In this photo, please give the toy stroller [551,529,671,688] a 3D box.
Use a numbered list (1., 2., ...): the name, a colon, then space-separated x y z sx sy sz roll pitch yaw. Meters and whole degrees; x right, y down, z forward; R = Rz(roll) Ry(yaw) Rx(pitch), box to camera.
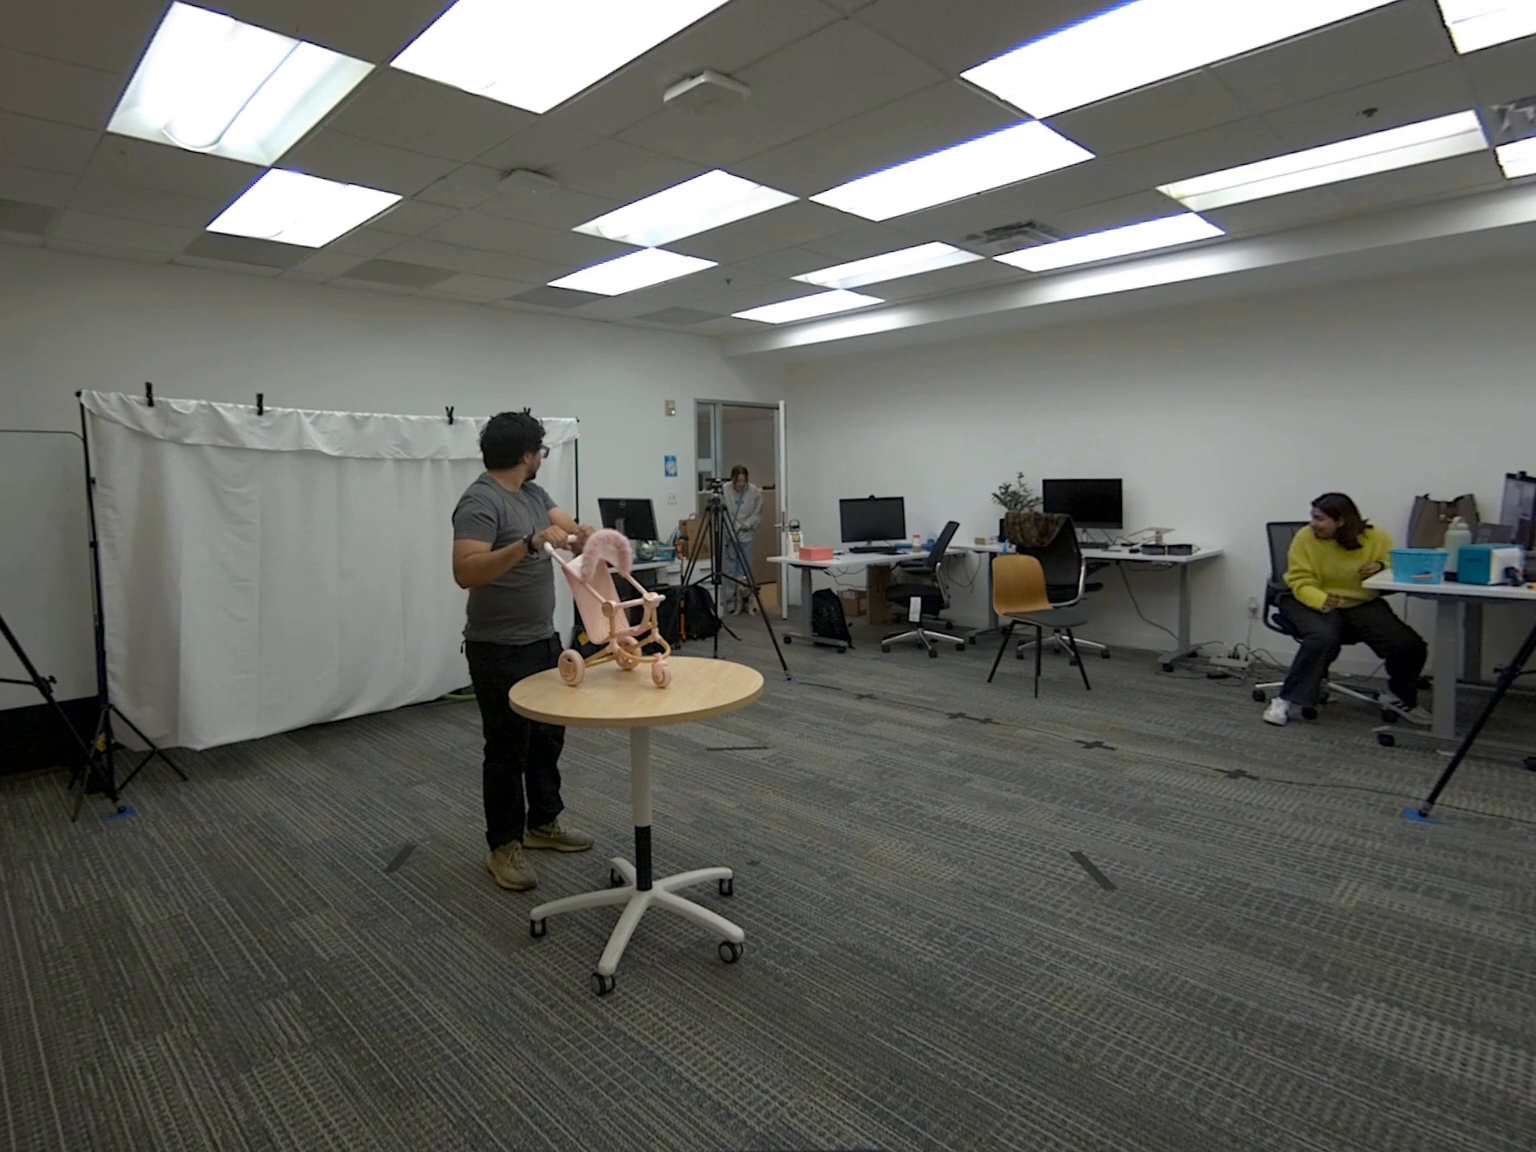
1. toy stroller: -0.480 0.098 2.633 0.348 0.538 0.274 -17 -6 40
